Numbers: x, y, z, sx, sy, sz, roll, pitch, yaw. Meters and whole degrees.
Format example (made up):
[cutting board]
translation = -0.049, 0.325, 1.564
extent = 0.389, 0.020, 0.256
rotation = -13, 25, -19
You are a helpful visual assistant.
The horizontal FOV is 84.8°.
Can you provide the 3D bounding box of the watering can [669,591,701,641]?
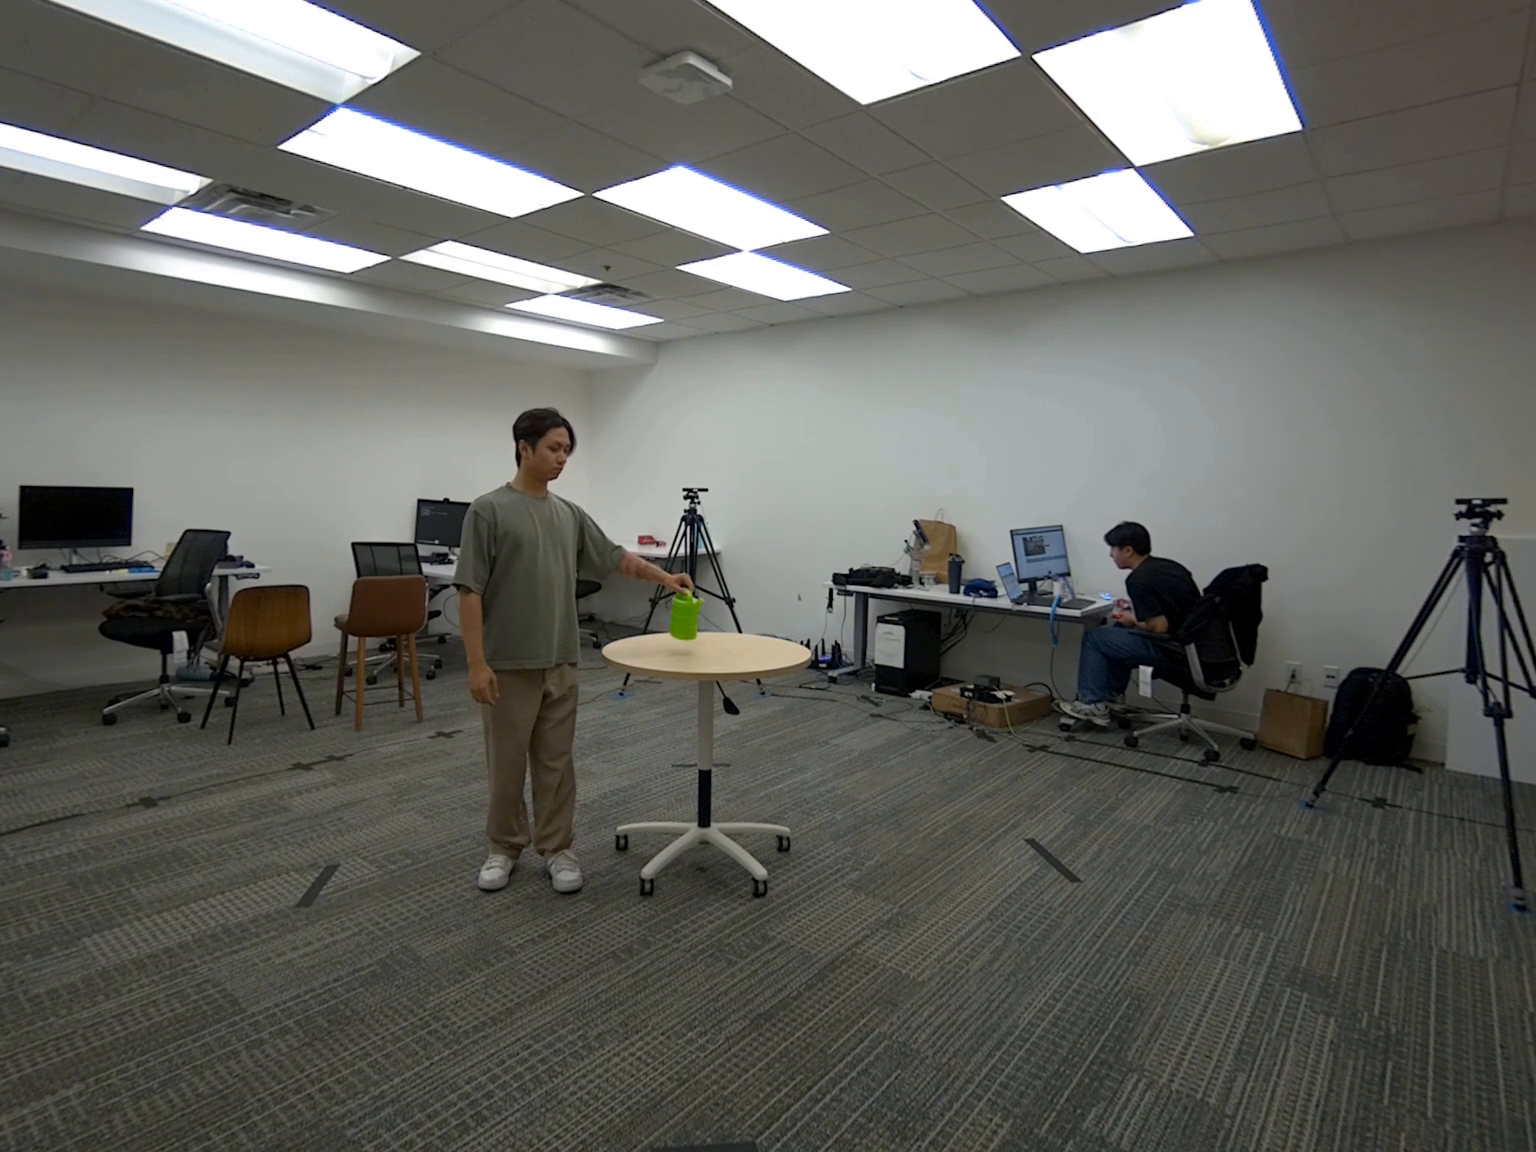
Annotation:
[watering can]
translation = -0.298, 0.142, 3.000
extent = 0.096, 0.176, 0.284
rotation = 3, 8, -16
